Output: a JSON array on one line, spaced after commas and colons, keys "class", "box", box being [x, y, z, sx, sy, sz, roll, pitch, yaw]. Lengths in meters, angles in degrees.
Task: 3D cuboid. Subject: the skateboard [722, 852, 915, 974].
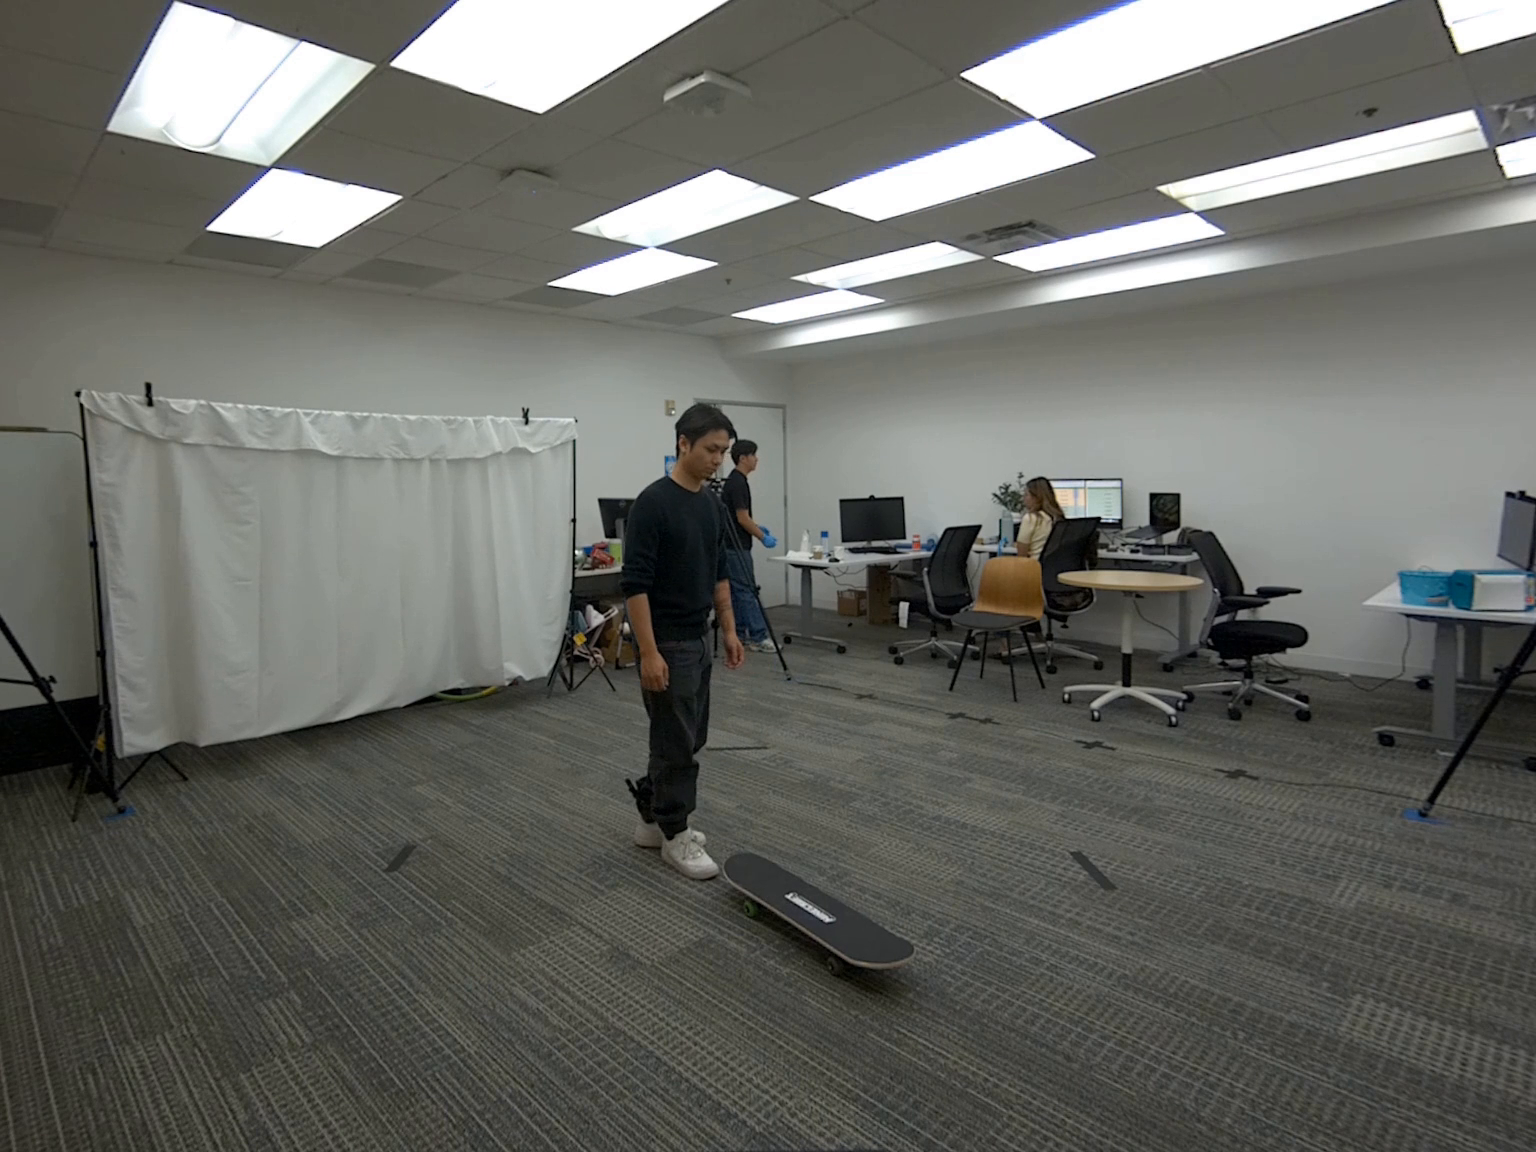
[{"class": "skateboard", "box": [0.138, 1.047, 2.602, 0.189, 0.110, 0.809, -6, 8, -36]}]
